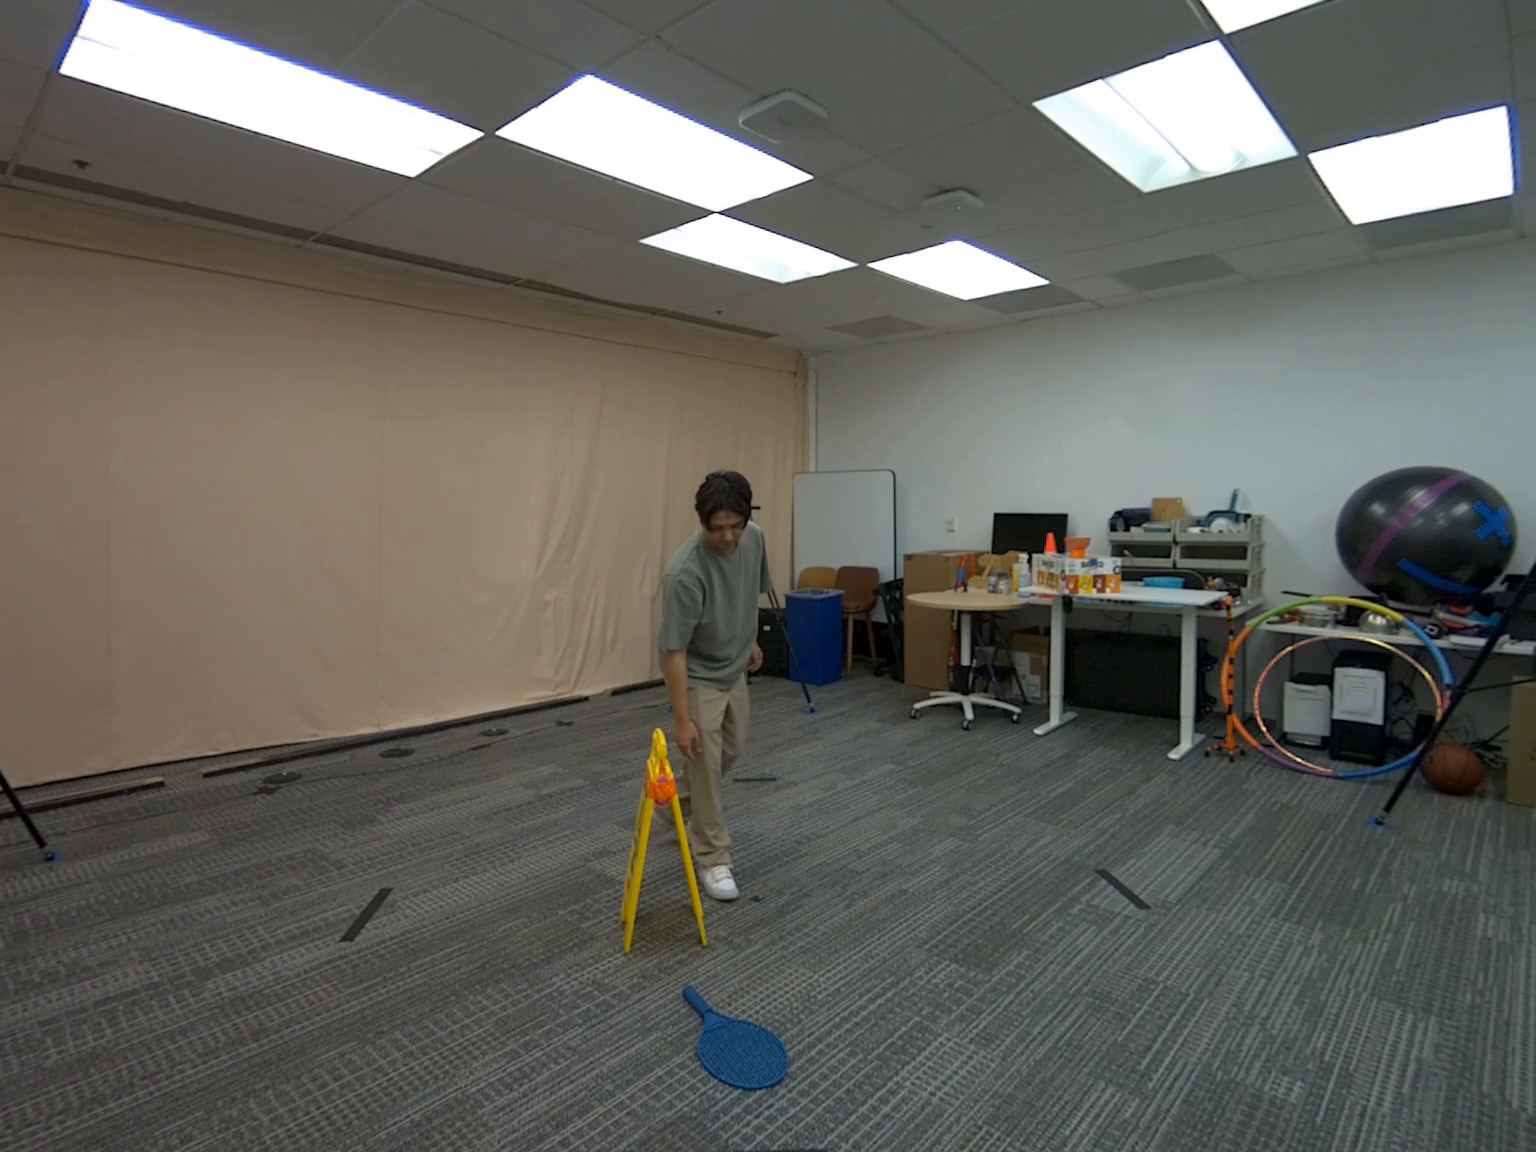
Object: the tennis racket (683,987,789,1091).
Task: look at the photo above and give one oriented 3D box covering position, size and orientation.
[{"bbox_3d":[-0.109,1.196,2.201,0.208,0.031,0.447,-4,7,-34],"label":"tennis racket"}]
